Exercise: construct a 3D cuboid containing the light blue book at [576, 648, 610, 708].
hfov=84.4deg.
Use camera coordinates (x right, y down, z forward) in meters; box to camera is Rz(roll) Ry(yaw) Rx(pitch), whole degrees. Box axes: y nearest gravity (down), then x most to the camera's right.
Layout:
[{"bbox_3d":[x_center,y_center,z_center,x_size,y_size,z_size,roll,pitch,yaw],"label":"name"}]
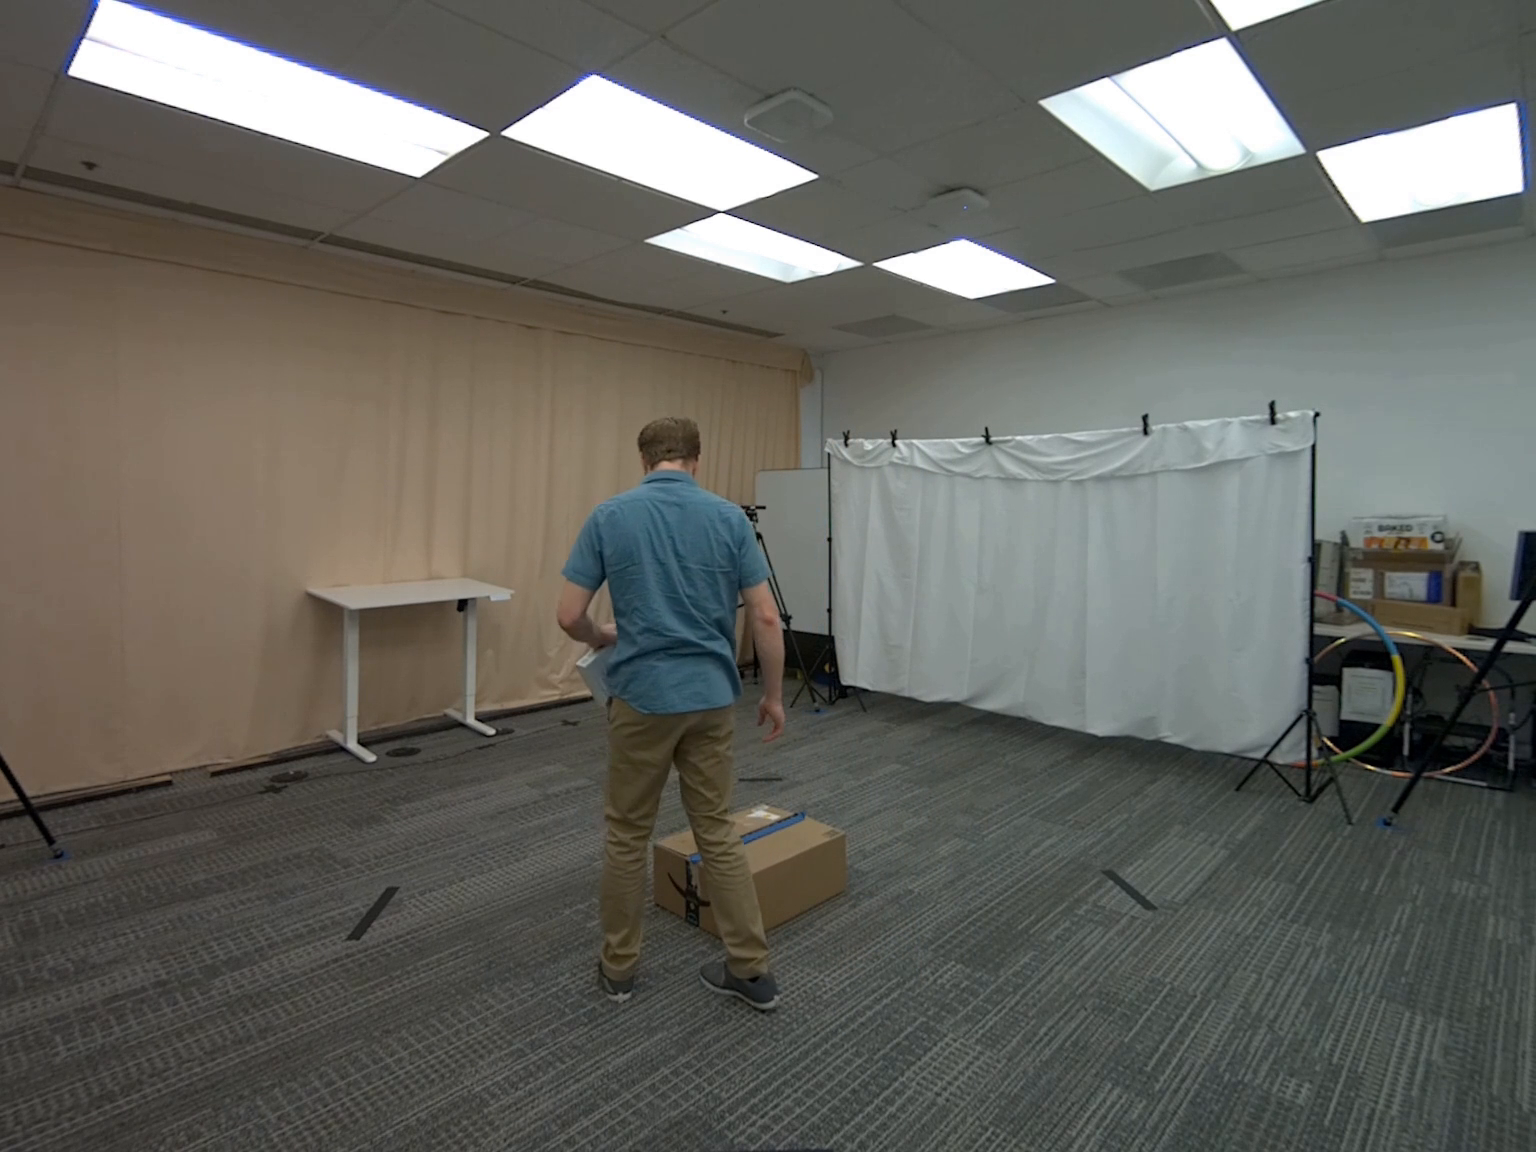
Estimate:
[{"bbox_3d":[-0.458,0.272,2.646,0.061,0.186,0.258,8,43,45],"label":"light blue book"}]
